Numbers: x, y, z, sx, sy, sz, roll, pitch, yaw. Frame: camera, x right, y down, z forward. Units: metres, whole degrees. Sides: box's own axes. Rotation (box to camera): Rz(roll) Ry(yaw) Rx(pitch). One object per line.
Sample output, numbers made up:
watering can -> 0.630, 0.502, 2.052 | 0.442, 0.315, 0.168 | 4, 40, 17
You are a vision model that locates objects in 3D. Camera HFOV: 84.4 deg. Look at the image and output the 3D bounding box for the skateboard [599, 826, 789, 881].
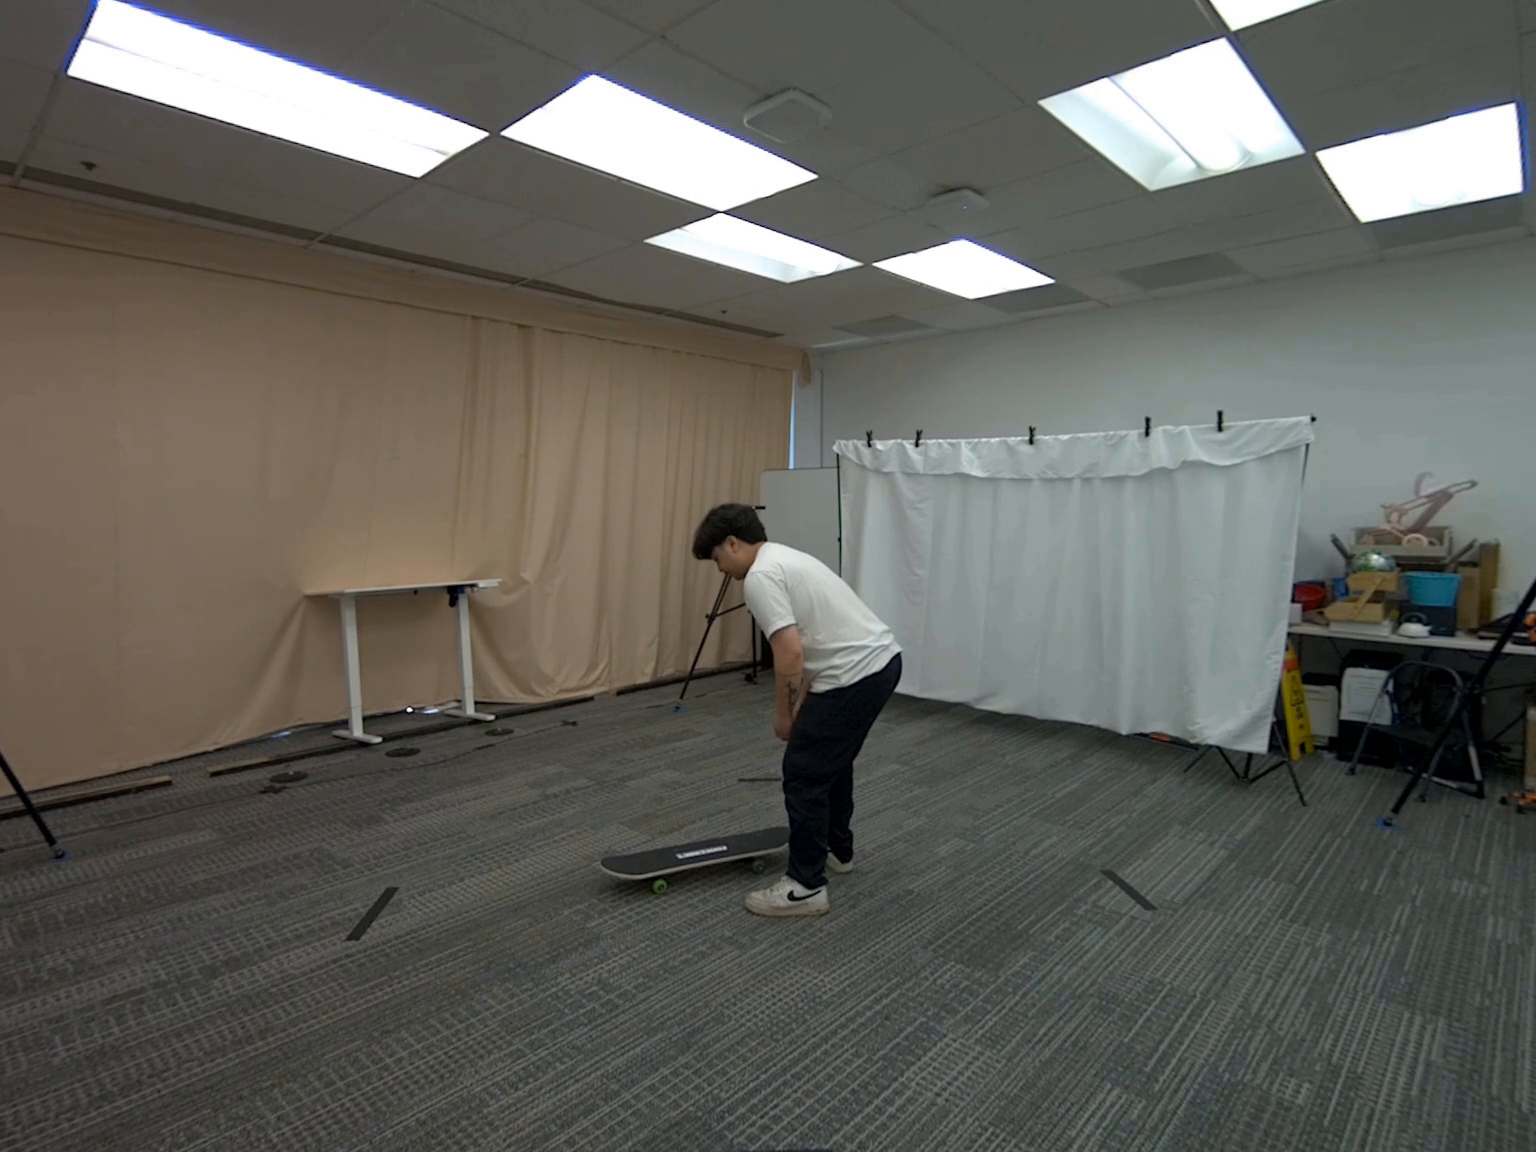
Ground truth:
skateboard -> -0.251, 1.076, 3.177 | 0.767, 0.110, 0.198 | -2, 4, -24
